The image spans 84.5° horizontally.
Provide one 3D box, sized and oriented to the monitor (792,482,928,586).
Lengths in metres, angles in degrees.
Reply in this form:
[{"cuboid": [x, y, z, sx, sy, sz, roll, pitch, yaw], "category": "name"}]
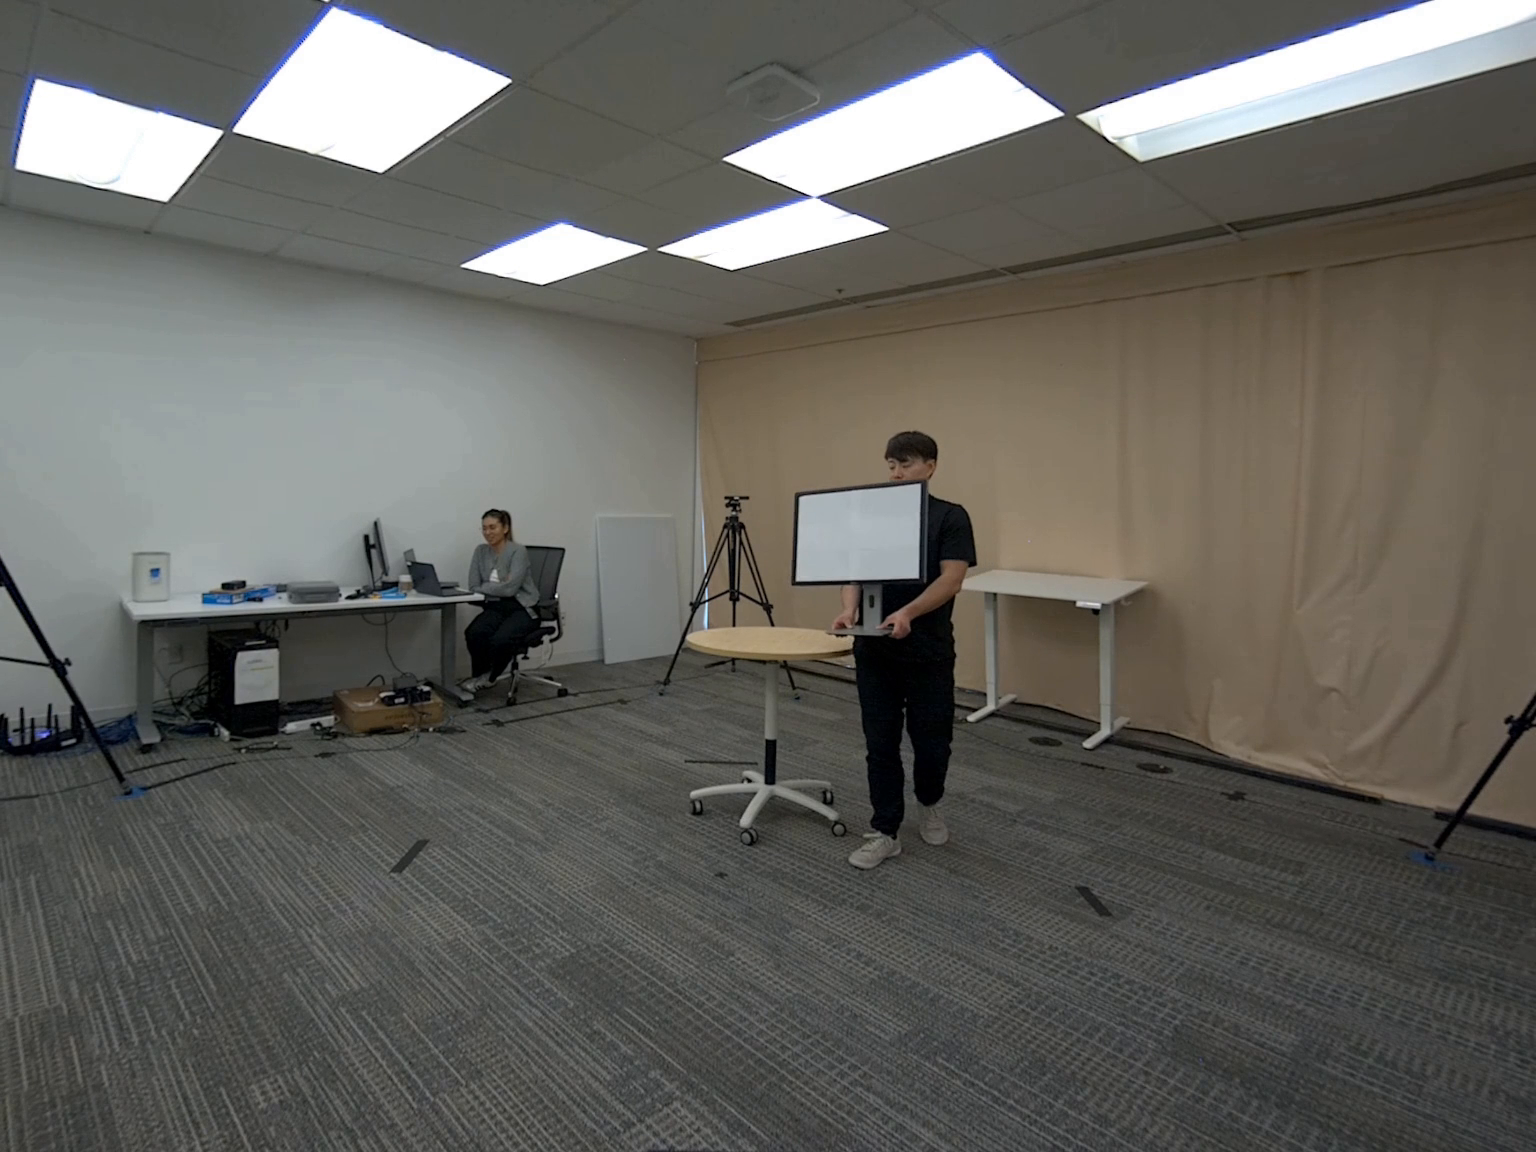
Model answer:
[{"cuboid": [0.340, -0.061, 3.081, 0.551, 0.521, 0.183, -3, 4, 40], "category": "monitor"}]
